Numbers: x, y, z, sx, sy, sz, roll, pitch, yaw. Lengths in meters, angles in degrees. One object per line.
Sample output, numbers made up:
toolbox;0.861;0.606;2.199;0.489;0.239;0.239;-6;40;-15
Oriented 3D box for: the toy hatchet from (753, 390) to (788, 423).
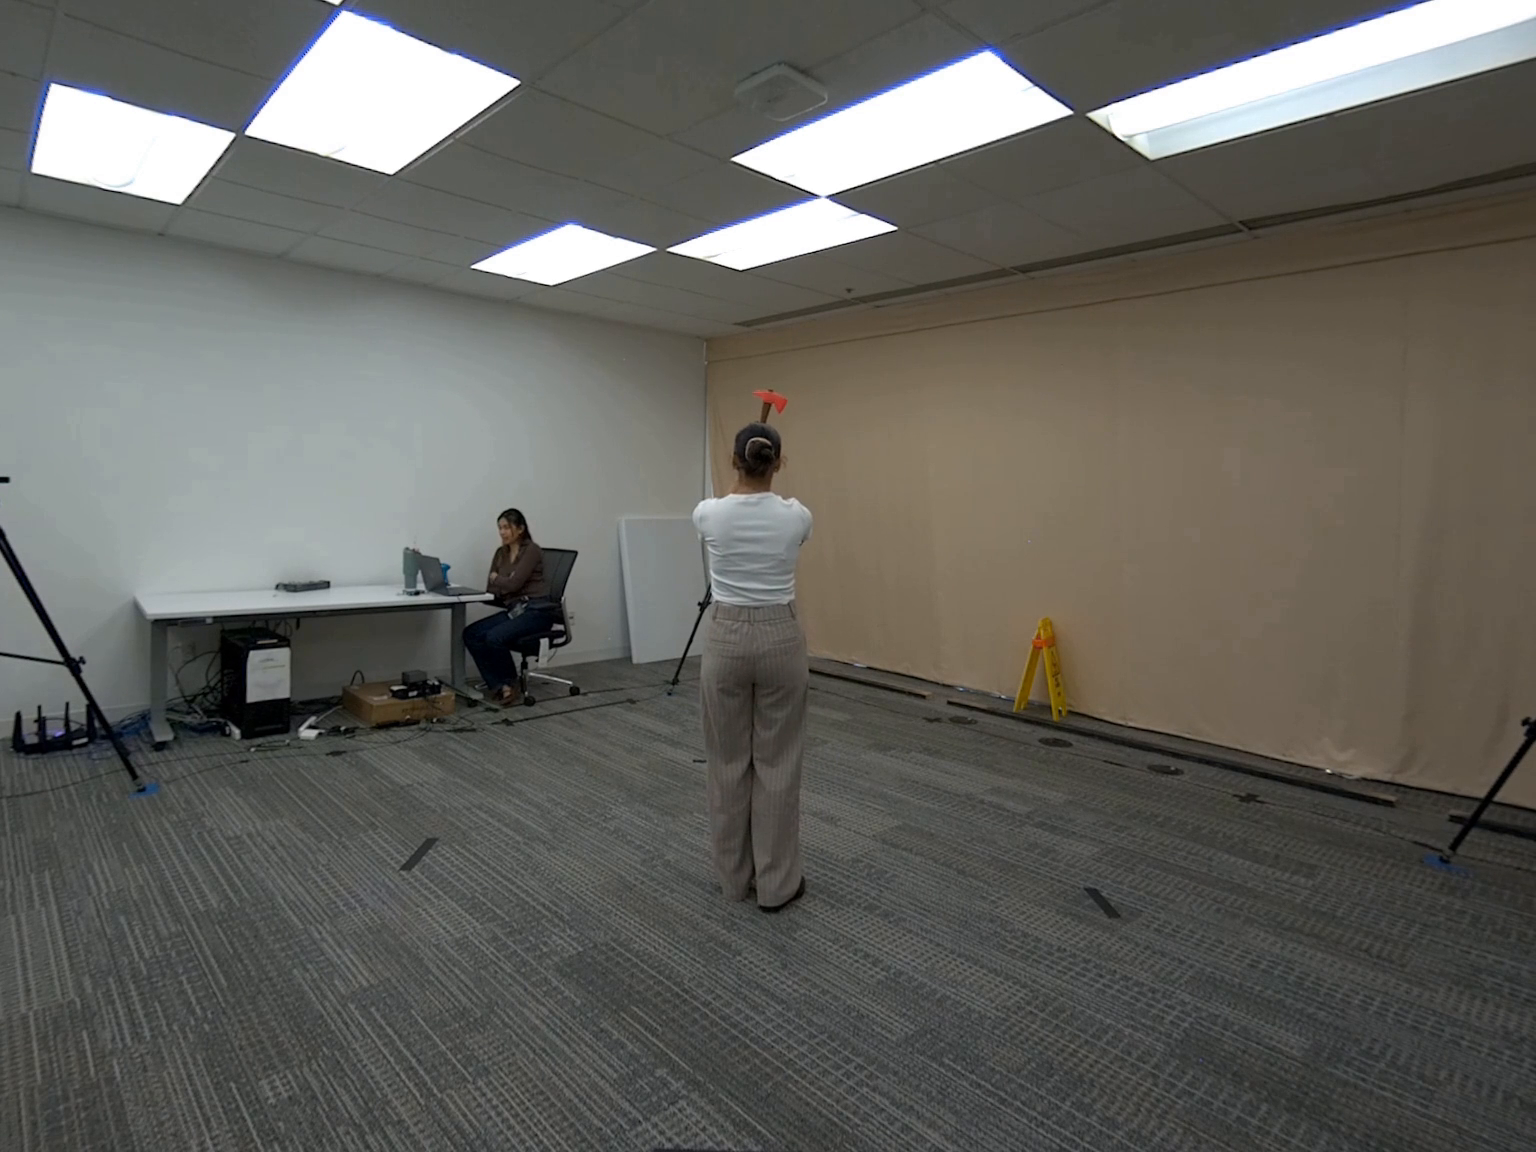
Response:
toy hatchet;0.011;-0.570;3.160;0.131;0.270;0.029;-5;-1;4
